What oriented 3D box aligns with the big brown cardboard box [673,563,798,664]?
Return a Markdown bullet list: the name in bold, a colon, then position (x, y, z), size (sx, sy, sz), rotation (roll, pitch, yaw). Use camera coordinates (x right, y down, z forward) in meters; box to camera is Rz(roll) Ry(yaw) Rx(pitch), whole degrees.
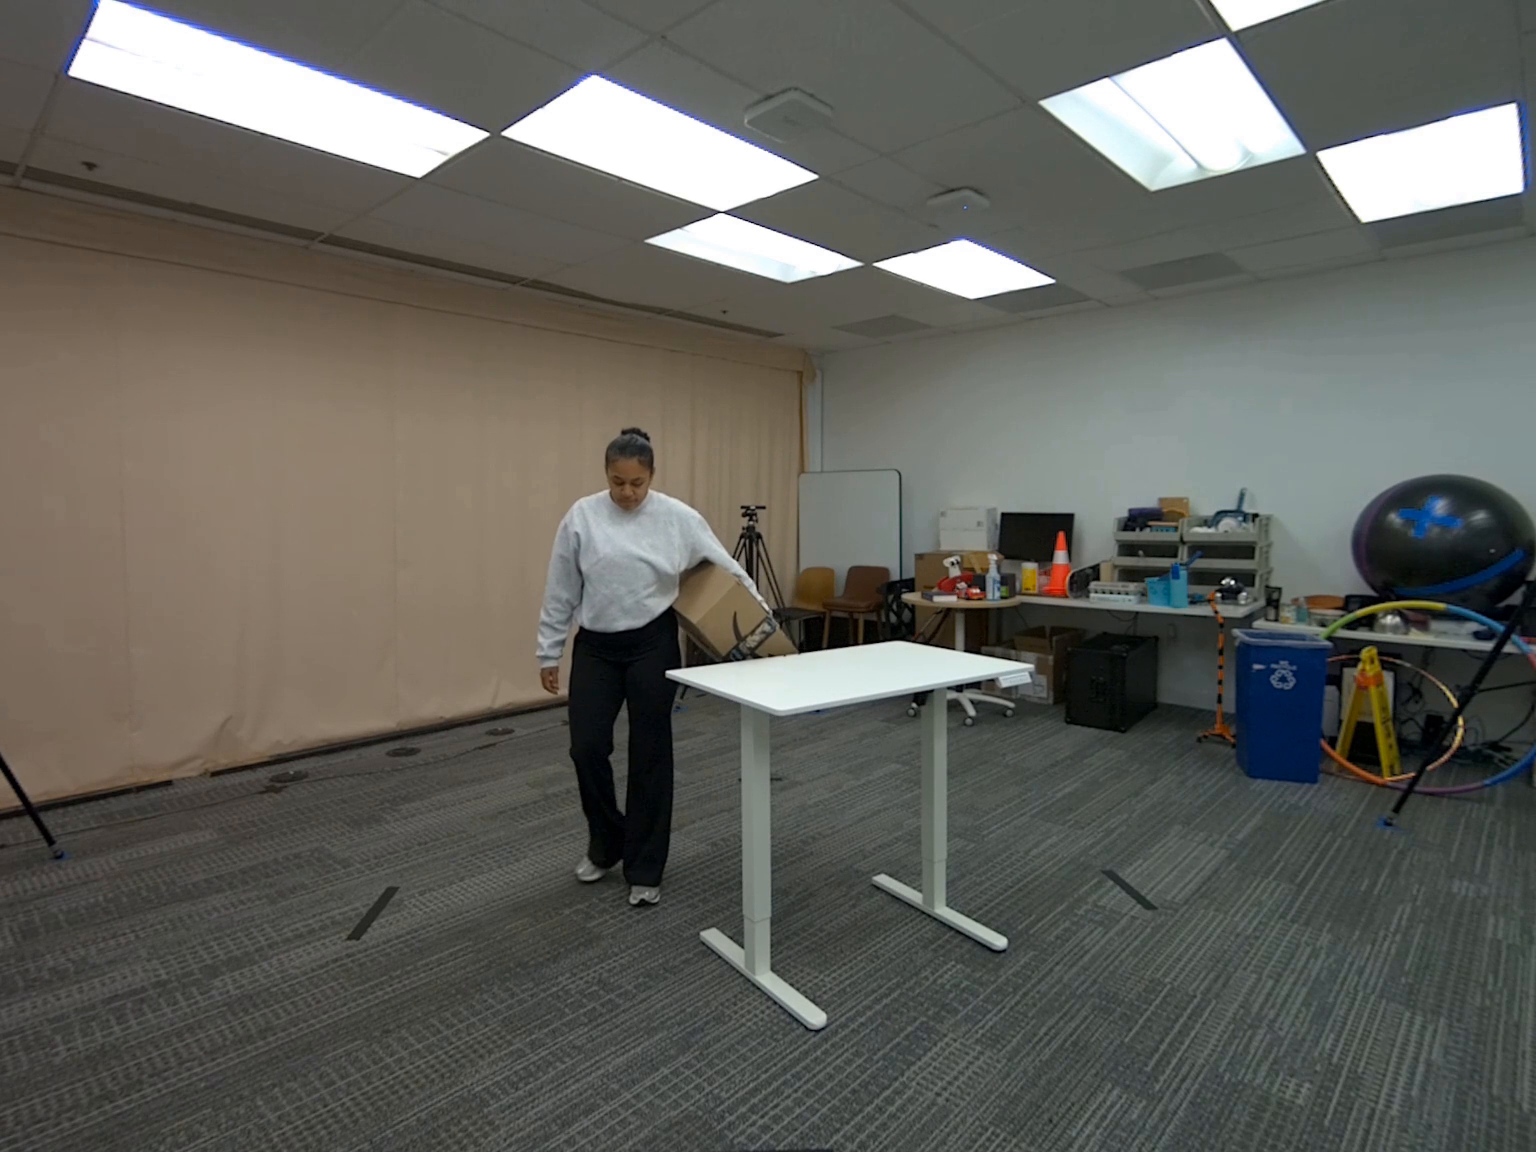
- **big brown cardboard box**: position (-0.183, 0.150, 3.119), size (0.232, 0.406, 0.608), rotation (-44, 29, -9)
